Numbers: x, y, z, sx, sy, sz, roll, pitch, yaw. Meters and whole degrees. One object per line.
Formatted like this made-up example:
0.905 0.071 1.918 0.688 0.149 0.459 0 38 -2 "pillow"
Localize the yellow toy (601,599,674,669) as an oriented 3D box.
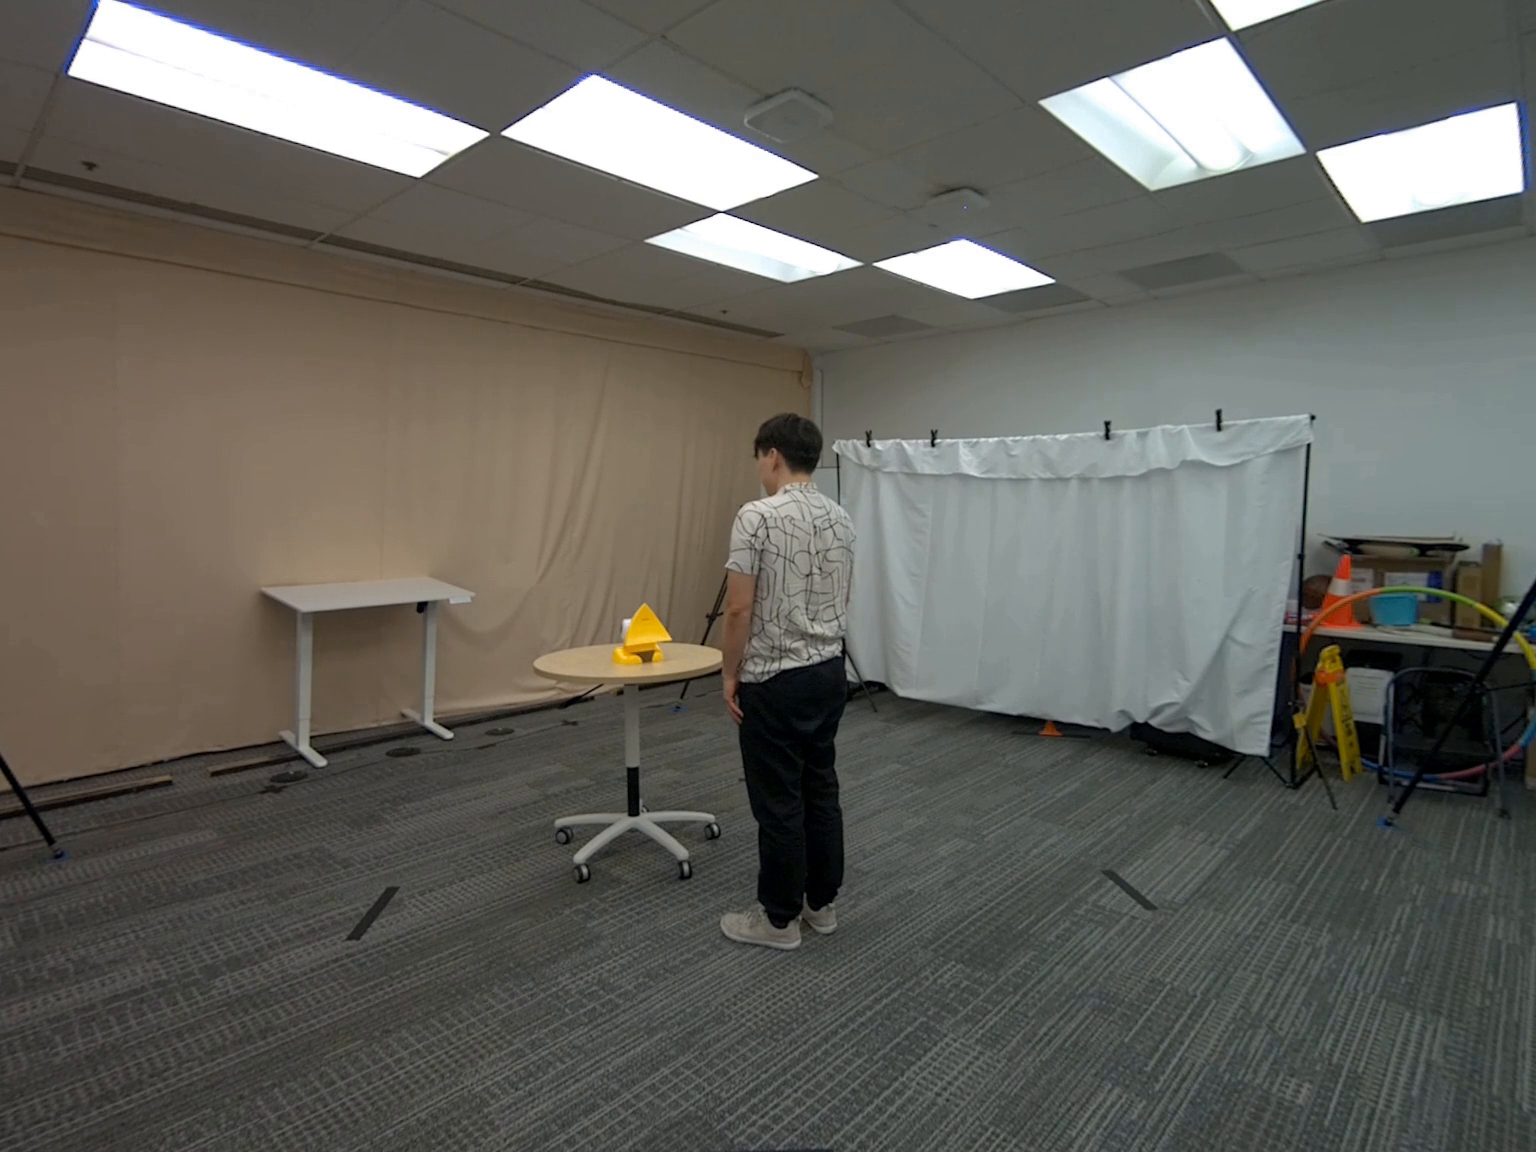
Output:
-0.518 0.220 3.348 0.199 0.230 0.199 -4 5 -38 "yellow toy"
